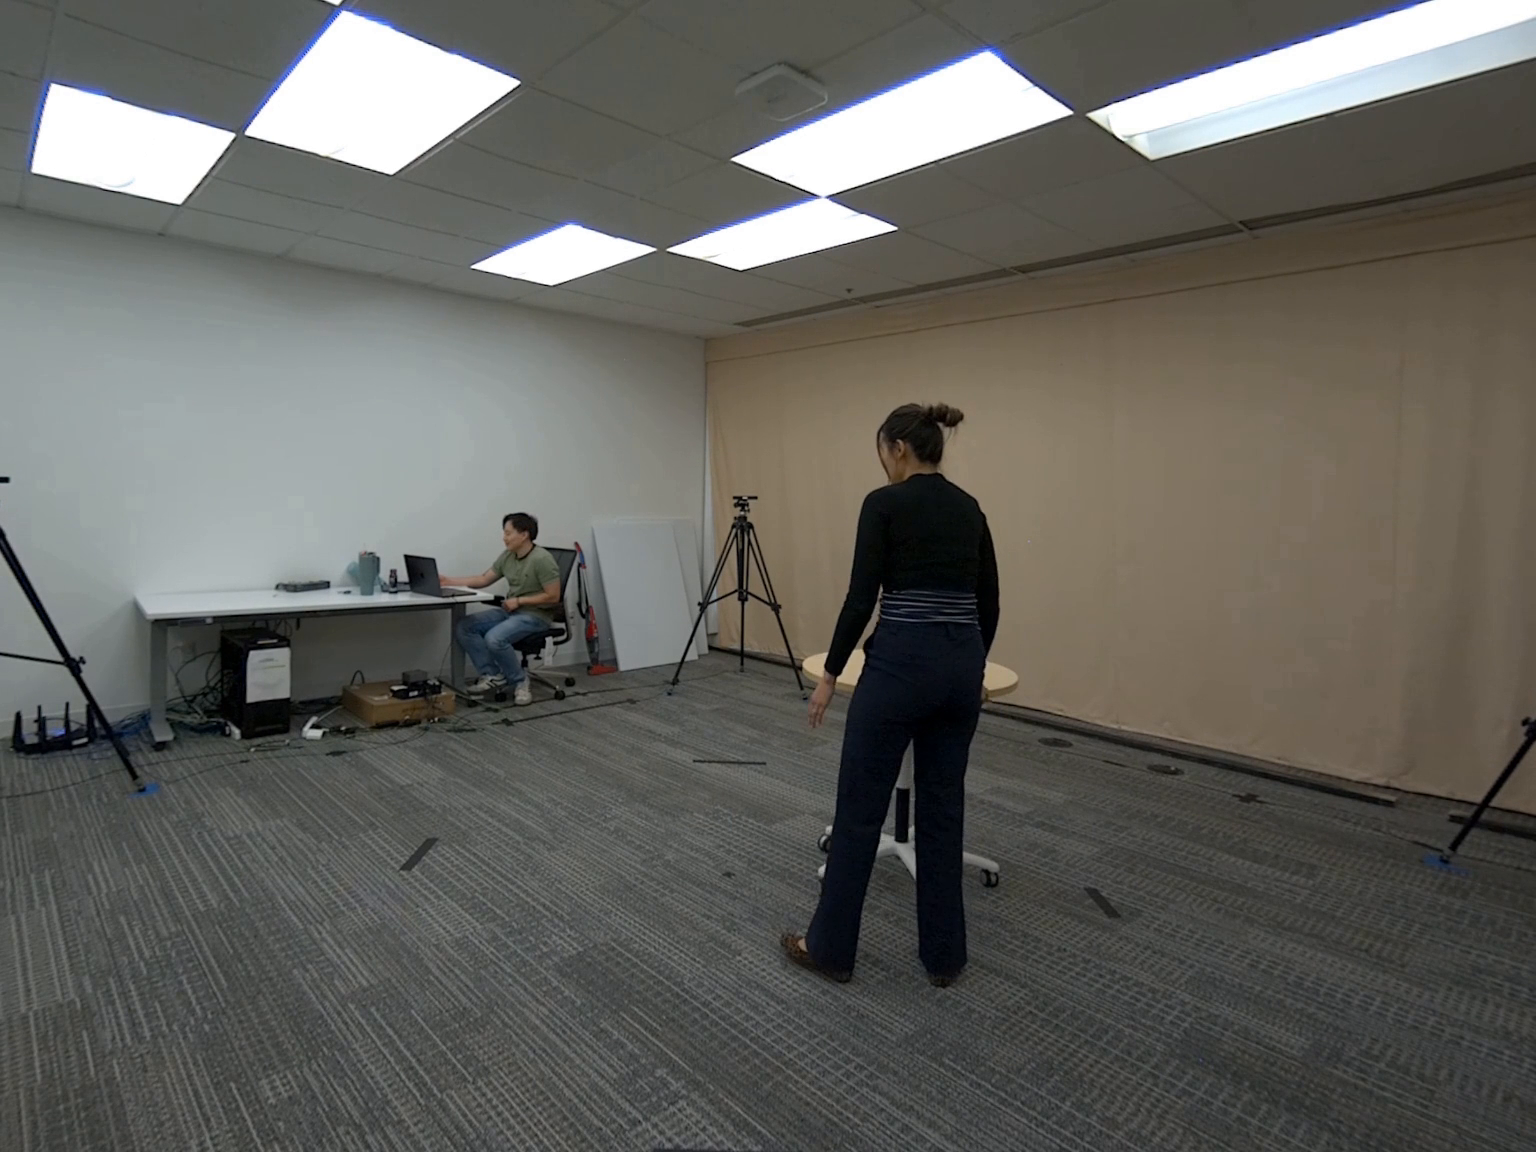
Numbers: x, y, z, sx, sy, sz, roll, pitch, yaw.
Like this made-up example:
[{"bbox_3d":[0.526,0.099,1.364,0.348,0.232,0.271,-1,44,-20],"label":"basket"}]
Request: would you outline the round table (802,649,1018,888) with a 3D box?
[{"bbox_3d":[0.496,0.732,3.094,0.763,0.792,0.767,2,4,-1],"label":"round table"}]
